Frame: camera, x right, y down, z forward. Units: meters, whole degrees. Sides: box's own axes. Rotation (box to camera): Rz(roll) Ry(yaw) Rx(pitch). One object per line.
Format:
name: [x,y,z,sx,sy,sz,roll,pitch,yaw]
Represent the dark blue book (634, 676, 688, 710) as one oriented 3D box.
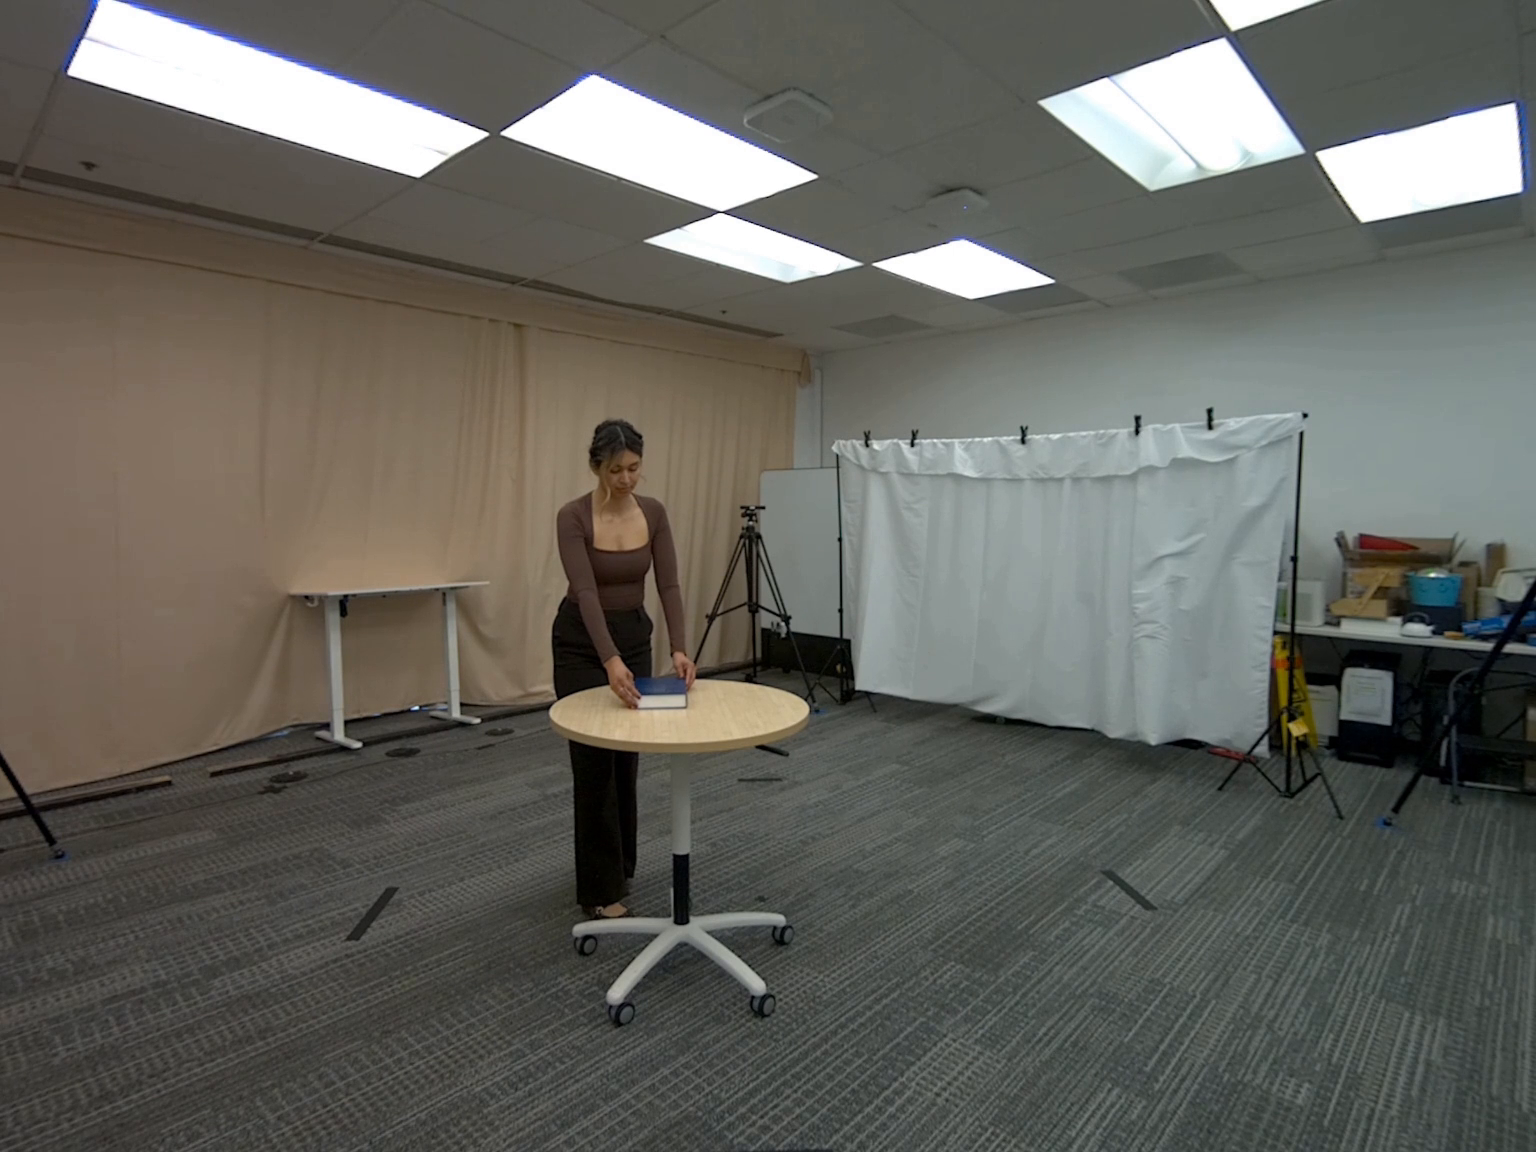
dark blue book: [-0.336,0.365,2.591,0.163,0.045,0.246,0,5,-3]
